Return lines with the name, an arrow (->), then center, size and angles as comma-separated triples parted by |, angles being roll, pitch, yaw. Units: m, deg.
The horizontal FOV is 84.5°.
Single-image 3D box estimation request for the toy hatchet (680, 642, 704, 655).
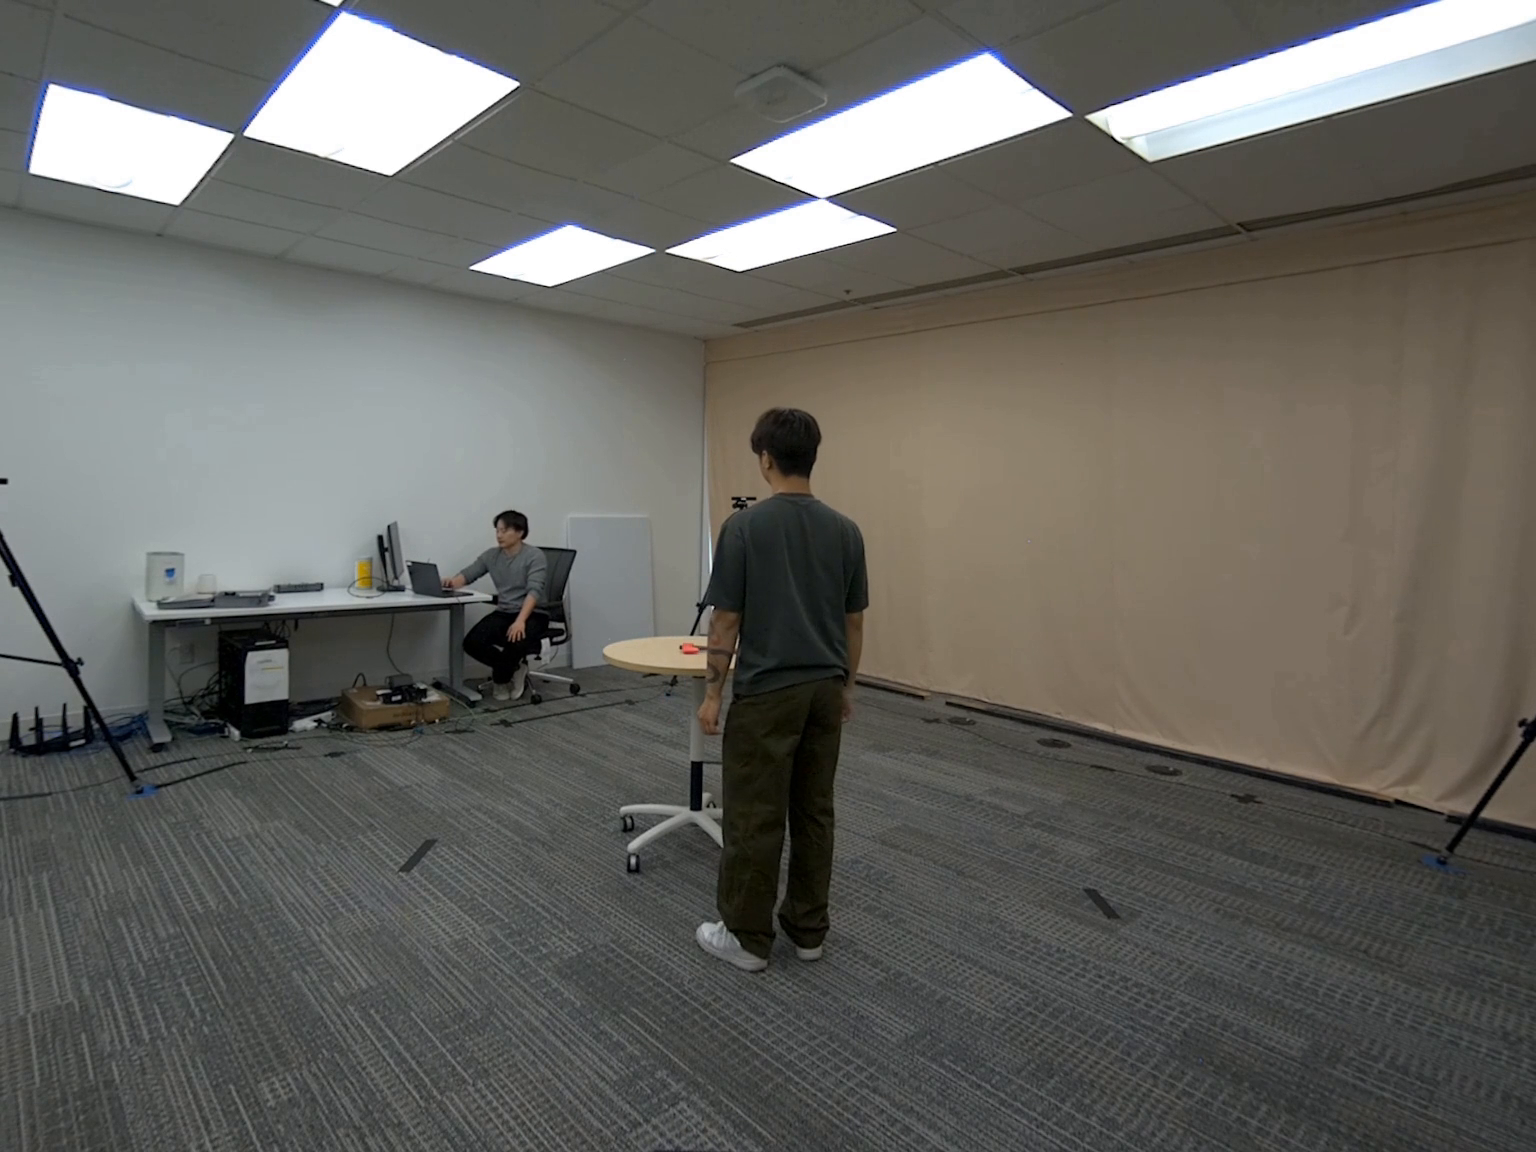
toy hatchet -> -0.223, 0.292, 3.289 | 0.275, 0.029, 0.129 | 4, 5, 21
